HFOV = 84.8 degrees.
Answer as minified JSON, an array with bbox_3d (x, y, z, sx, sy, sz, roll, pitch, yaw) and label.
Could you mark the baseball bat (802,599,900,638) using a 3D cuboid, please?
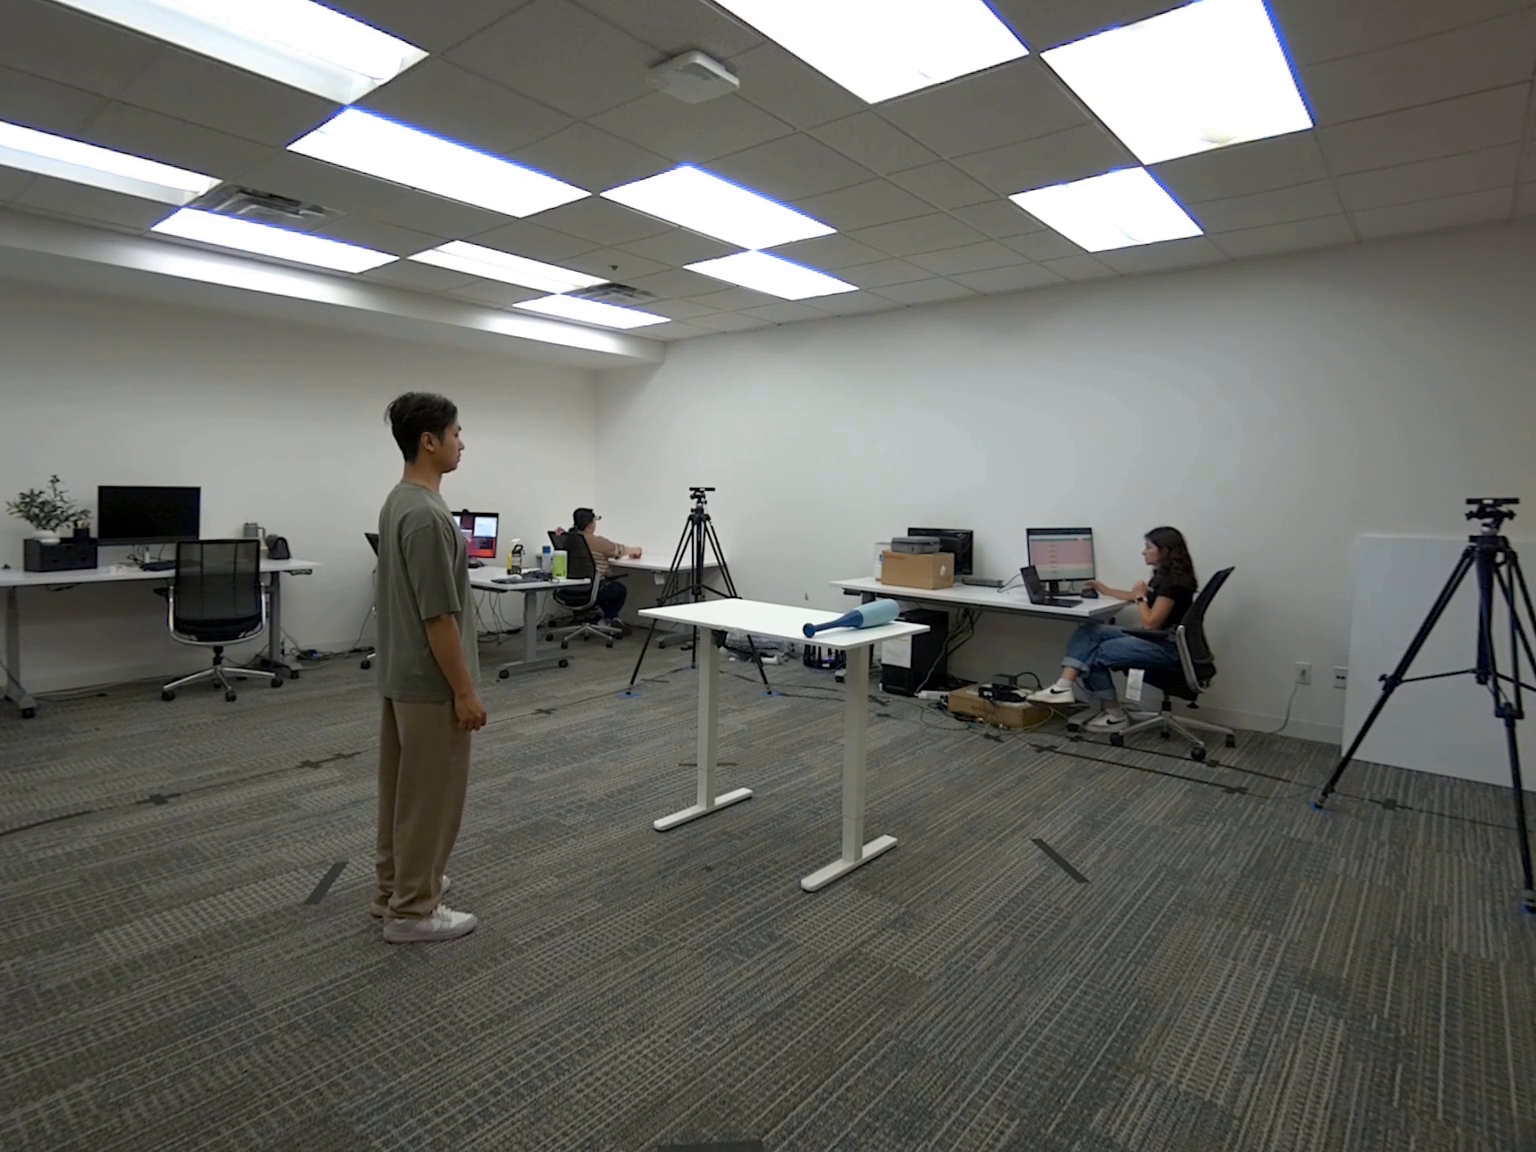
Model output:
[{"bbox_3d":[0.311,0.160,3.126,0.092,0.088,0.528,4,10,40],"label":"baseball bat"}]
